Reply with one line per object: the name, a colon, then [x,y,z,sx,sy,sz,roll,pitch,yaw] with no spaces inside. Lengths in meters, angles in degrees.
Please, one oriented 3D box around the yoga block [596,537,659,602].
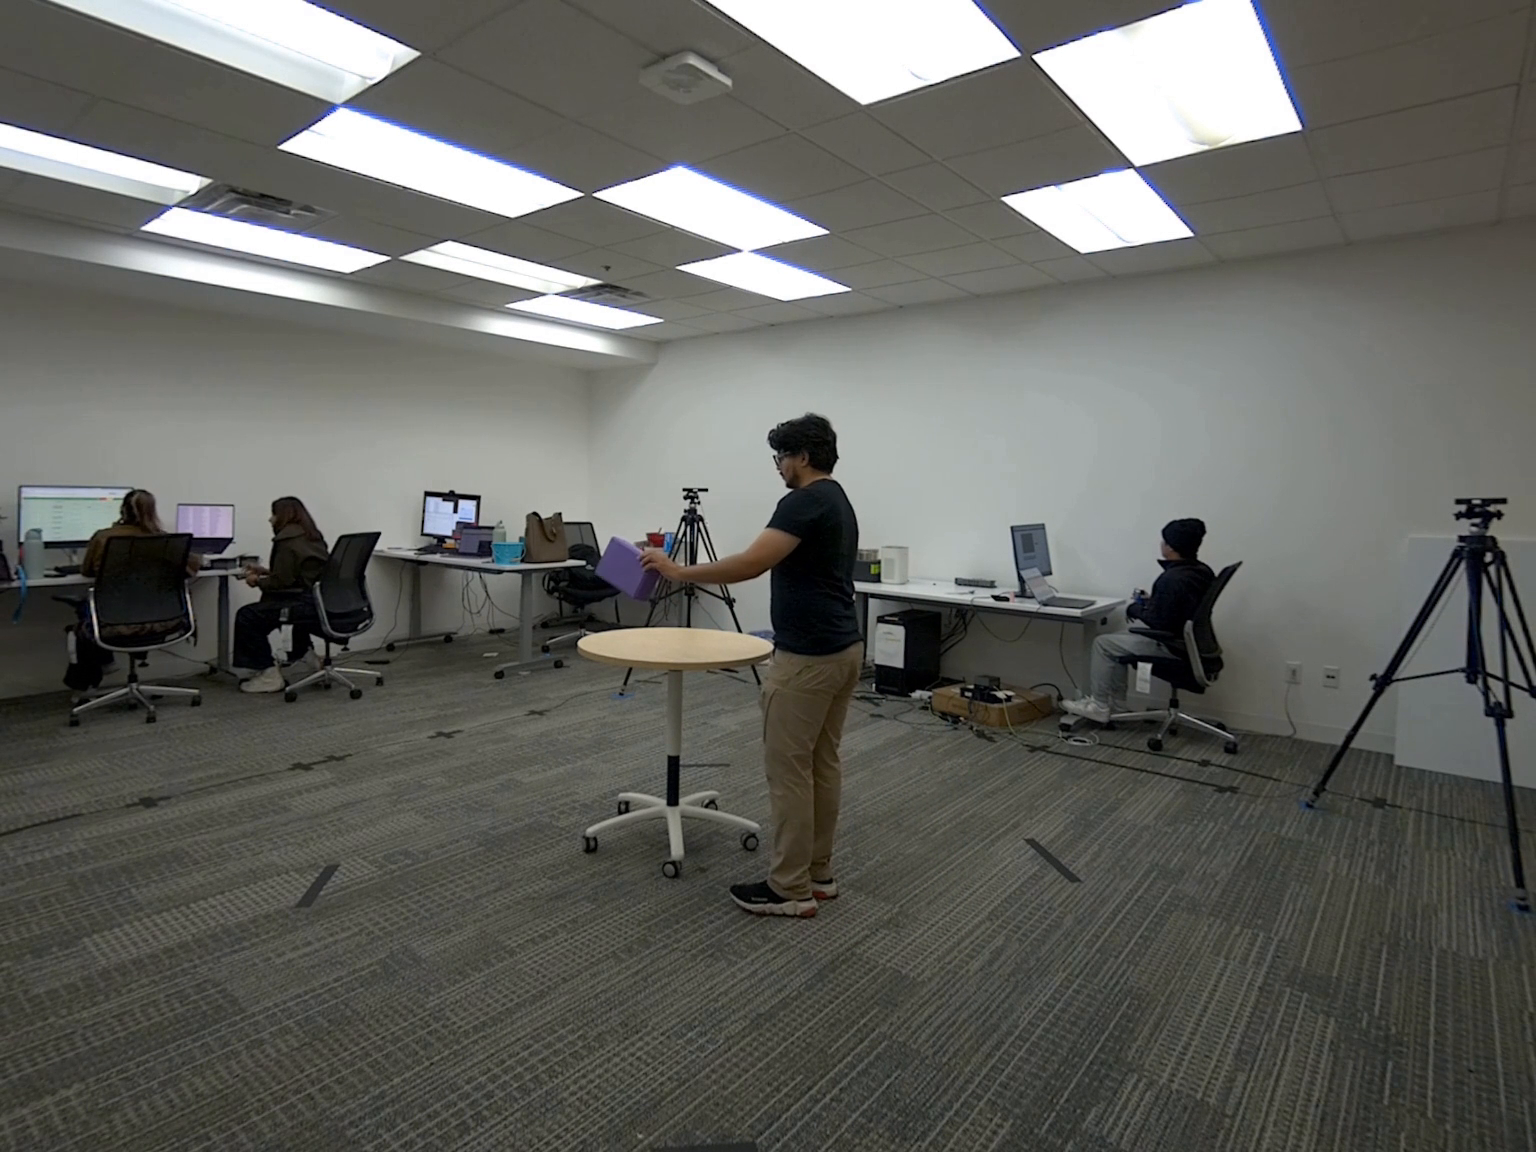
yoga block: [-0.488,-0.029,2.928,0.239,0.148,0.073,30,7,37]
